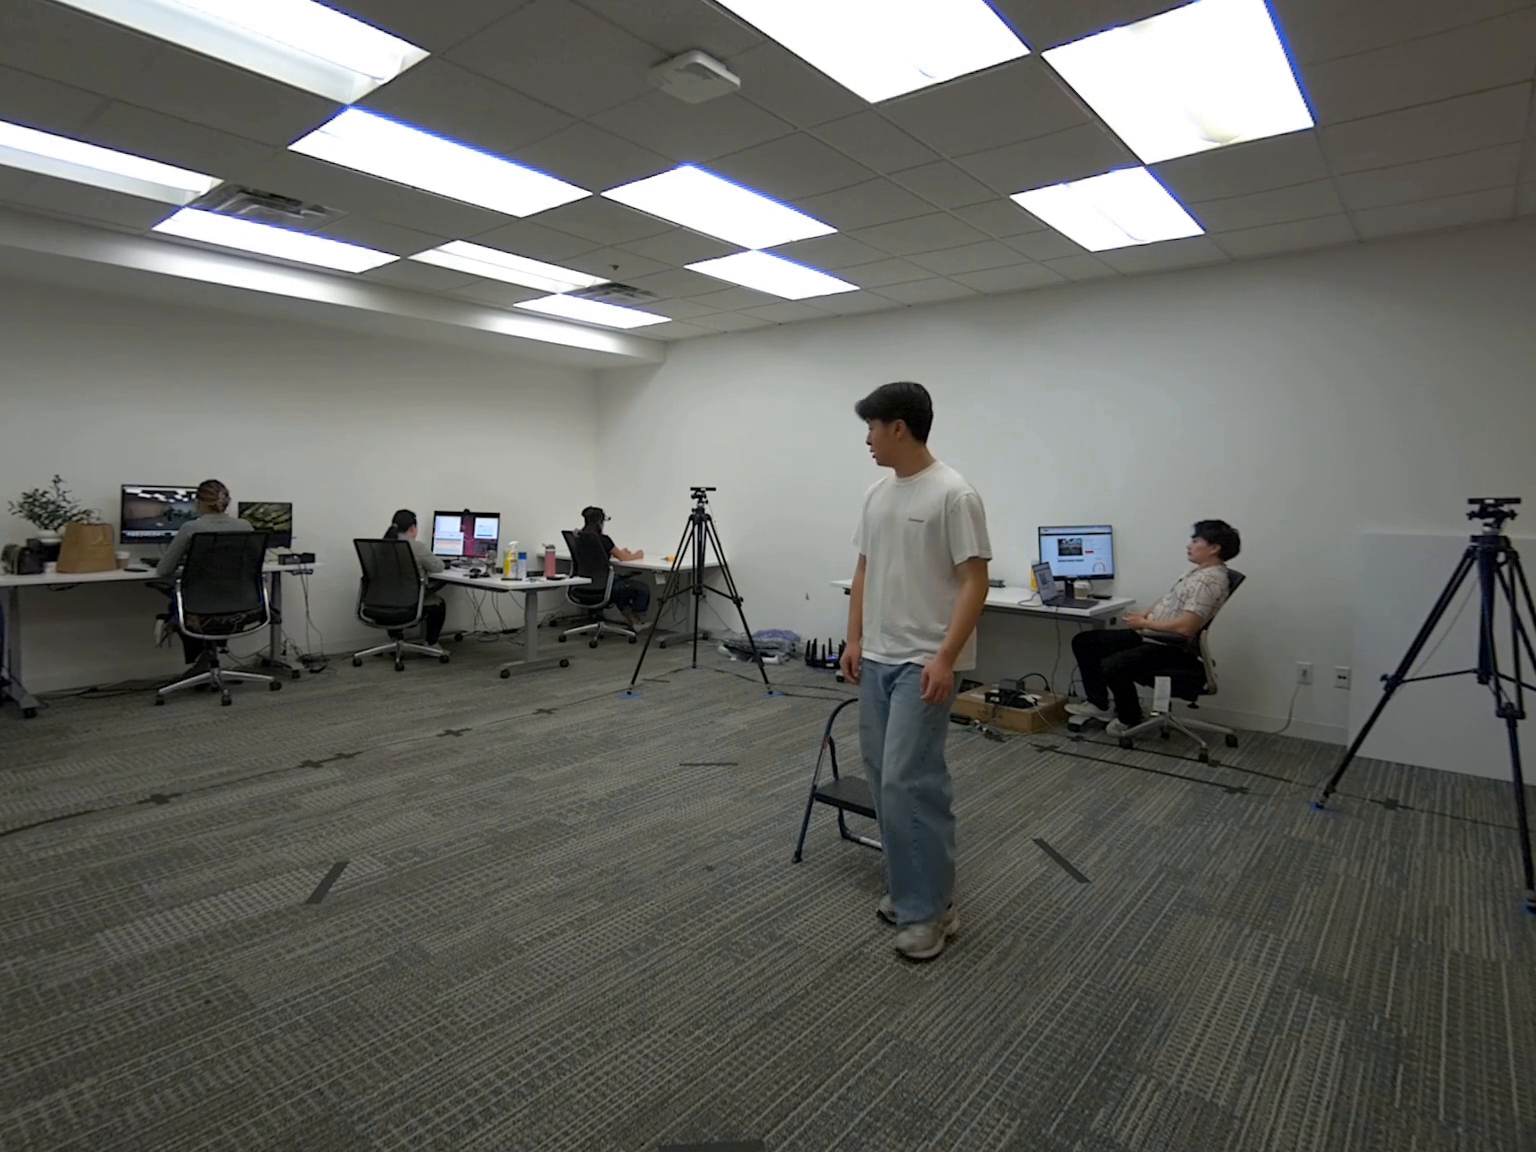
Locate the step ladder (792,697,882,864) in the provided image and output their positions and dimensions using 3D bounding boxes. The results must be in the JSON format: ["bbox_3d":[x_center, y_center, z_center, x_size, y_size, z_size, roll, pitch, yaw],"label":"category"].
[{"bbox_3d":[0.357,0.768,3.161,0.445,0.604,0.339,5,5,39],"label":"step ladder"}]
